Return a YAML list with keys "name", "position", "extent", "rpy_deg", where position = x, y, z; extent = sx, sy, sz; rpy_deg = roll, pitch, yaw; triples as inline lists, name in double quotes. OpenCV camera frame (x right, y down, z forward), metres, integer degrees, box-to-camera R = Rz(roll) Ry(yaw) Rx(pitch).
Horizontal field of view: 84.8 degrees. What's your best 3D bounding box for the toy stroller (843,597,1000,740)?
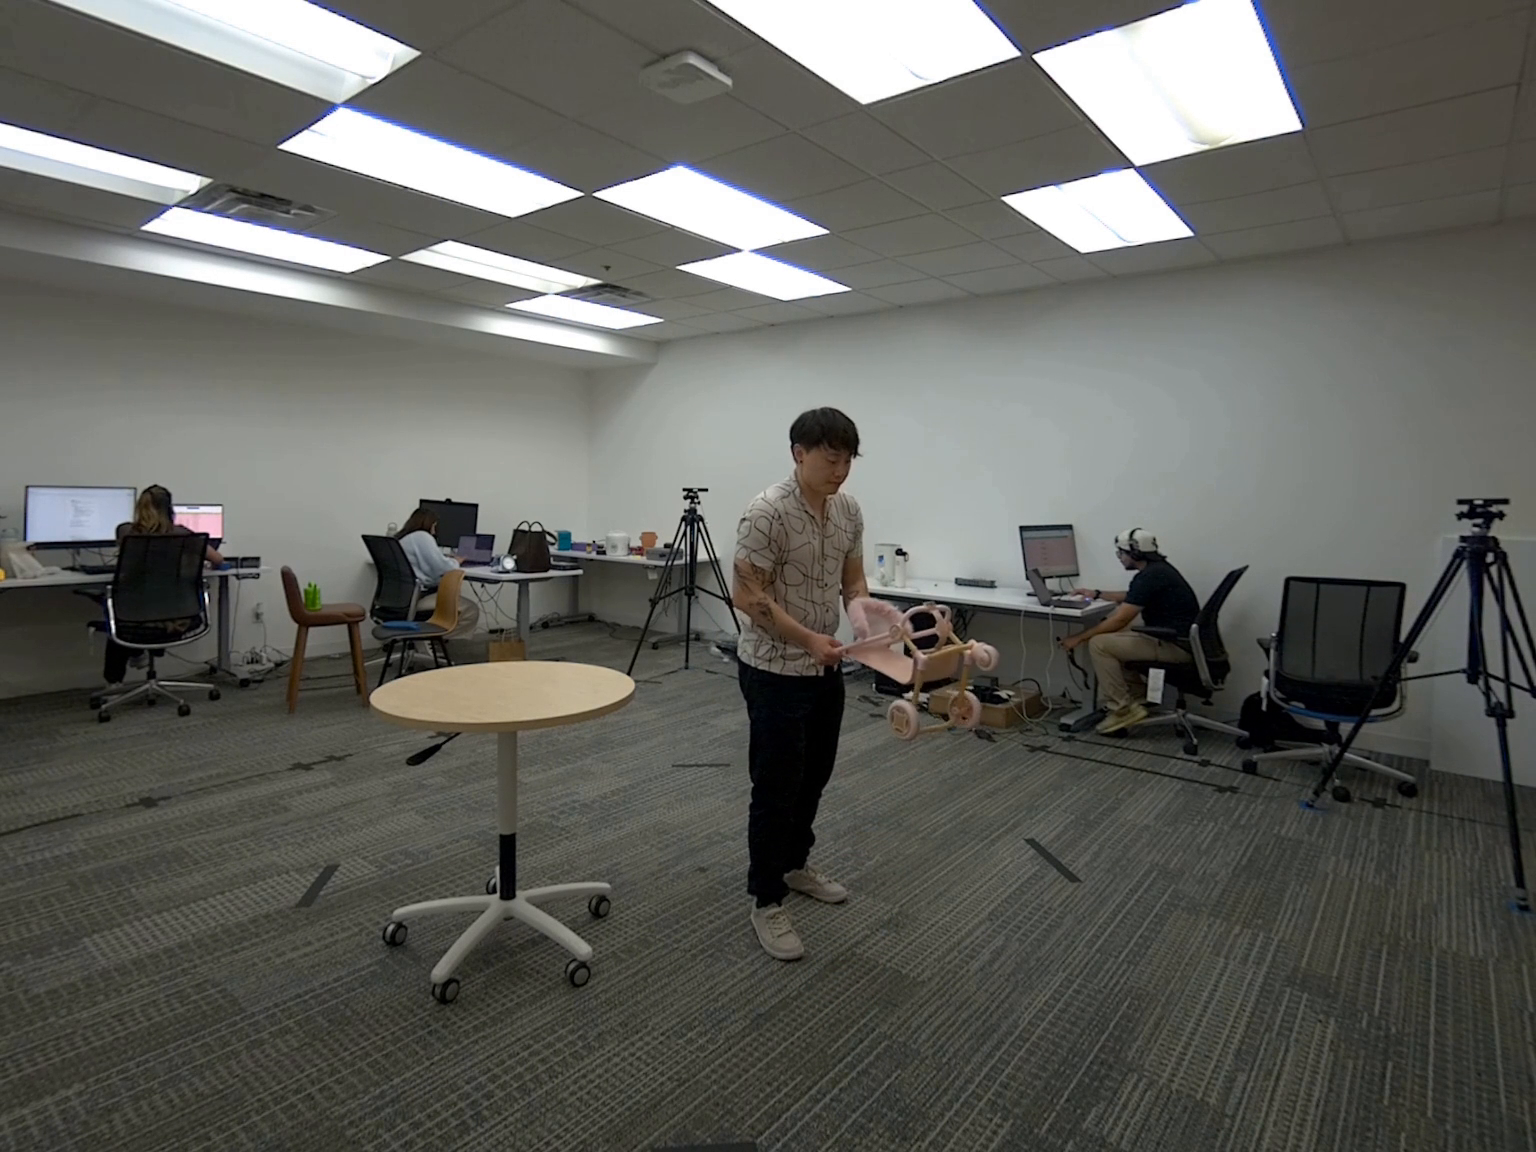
- name: "toy stroller"
  position: [0.402, 0.226, 2.418]
  extent: [0.274, 0.336, 0.558]
  rpy_deg: [-4, 27, -34]
